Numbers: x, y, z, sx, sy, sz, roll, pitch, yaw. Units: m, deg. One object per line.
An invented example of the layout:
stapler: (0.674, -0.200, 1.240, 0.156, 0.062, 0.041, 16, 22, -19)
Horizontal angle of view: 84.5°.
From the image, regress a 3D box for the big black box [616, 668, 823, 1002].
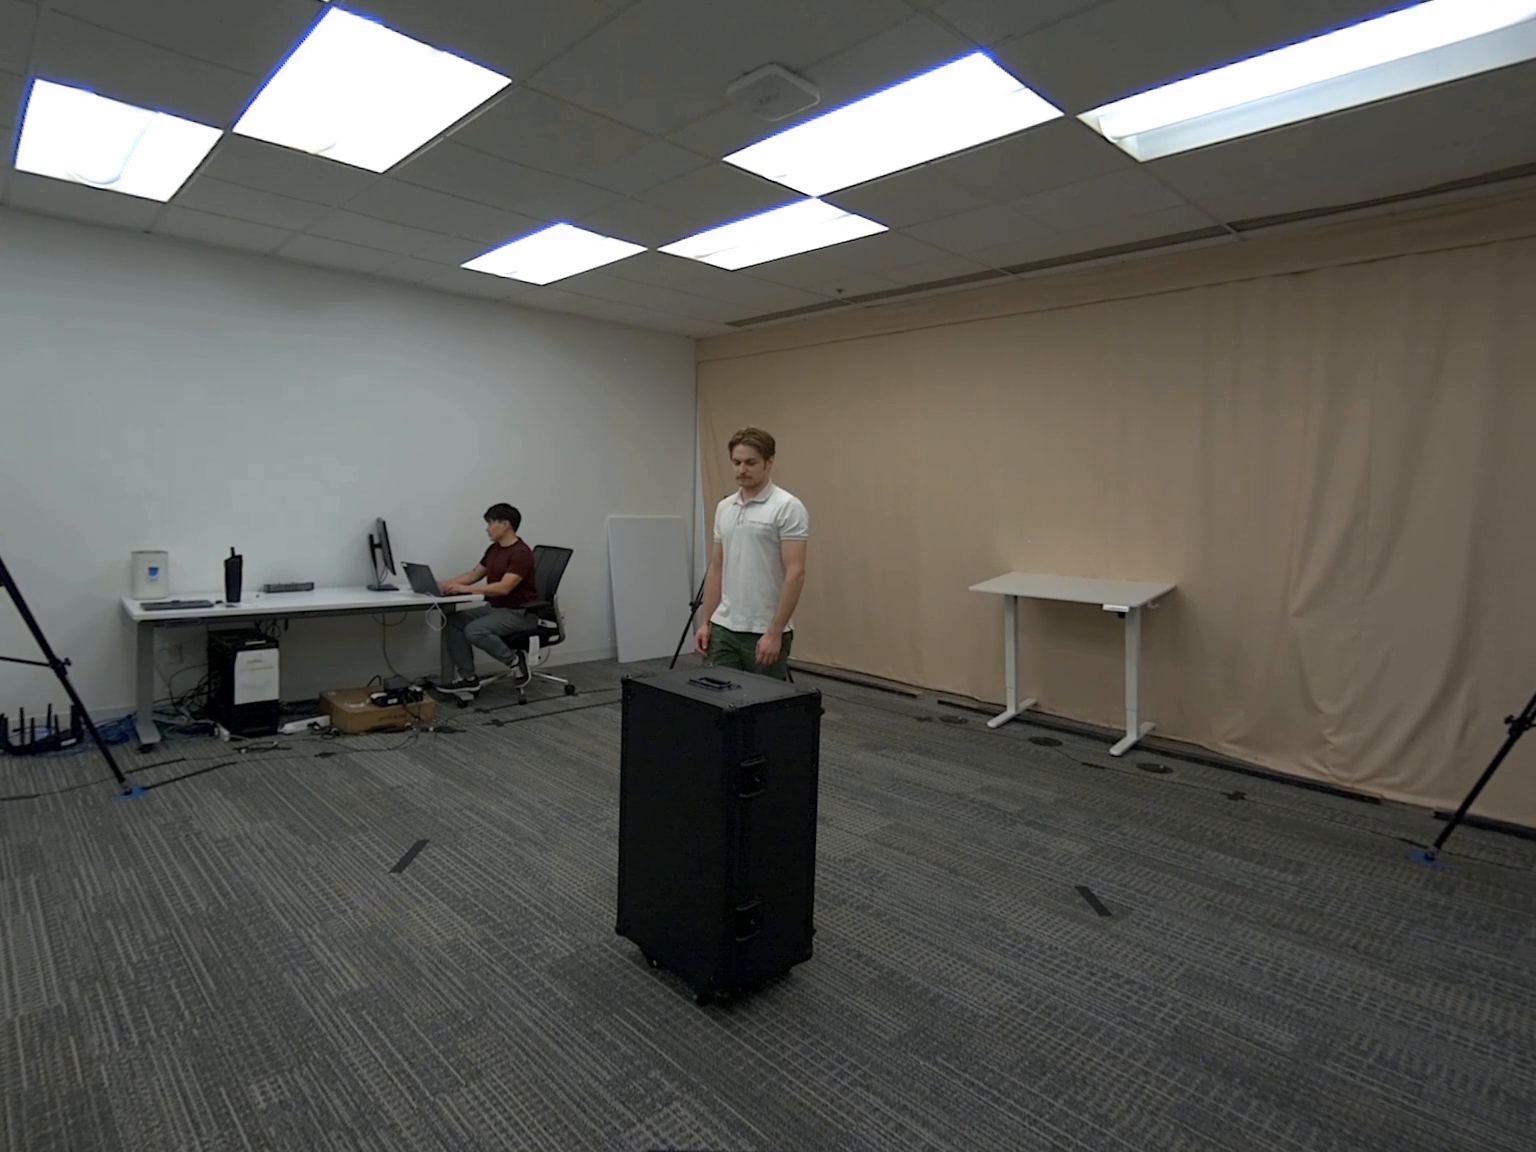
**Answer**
big black box: (-0.162, 0.741, 2.467, 0.376, 0.866, 0.537, -1, 5, -45)
